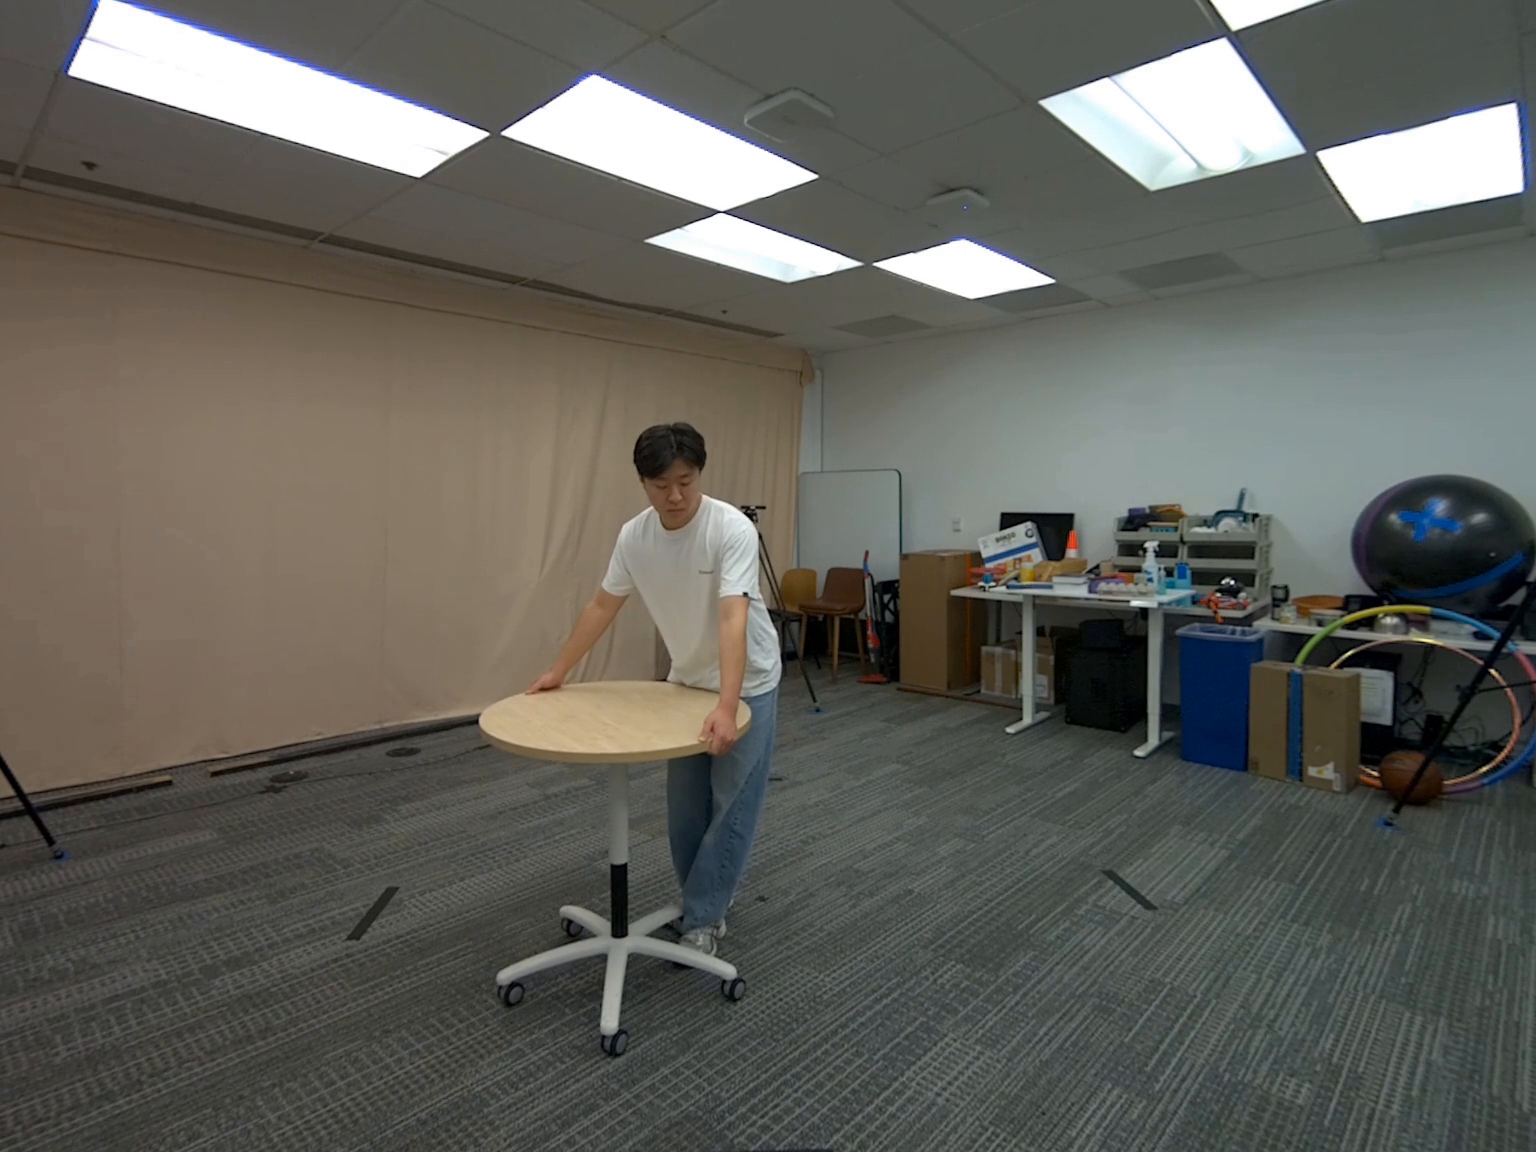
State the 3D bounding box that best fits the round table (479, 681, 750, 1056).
[{"bbox_3d":[-0.427,0.792,2.427,0.763,0.792,0.767,0,5,-2],"label":"round table"}]
